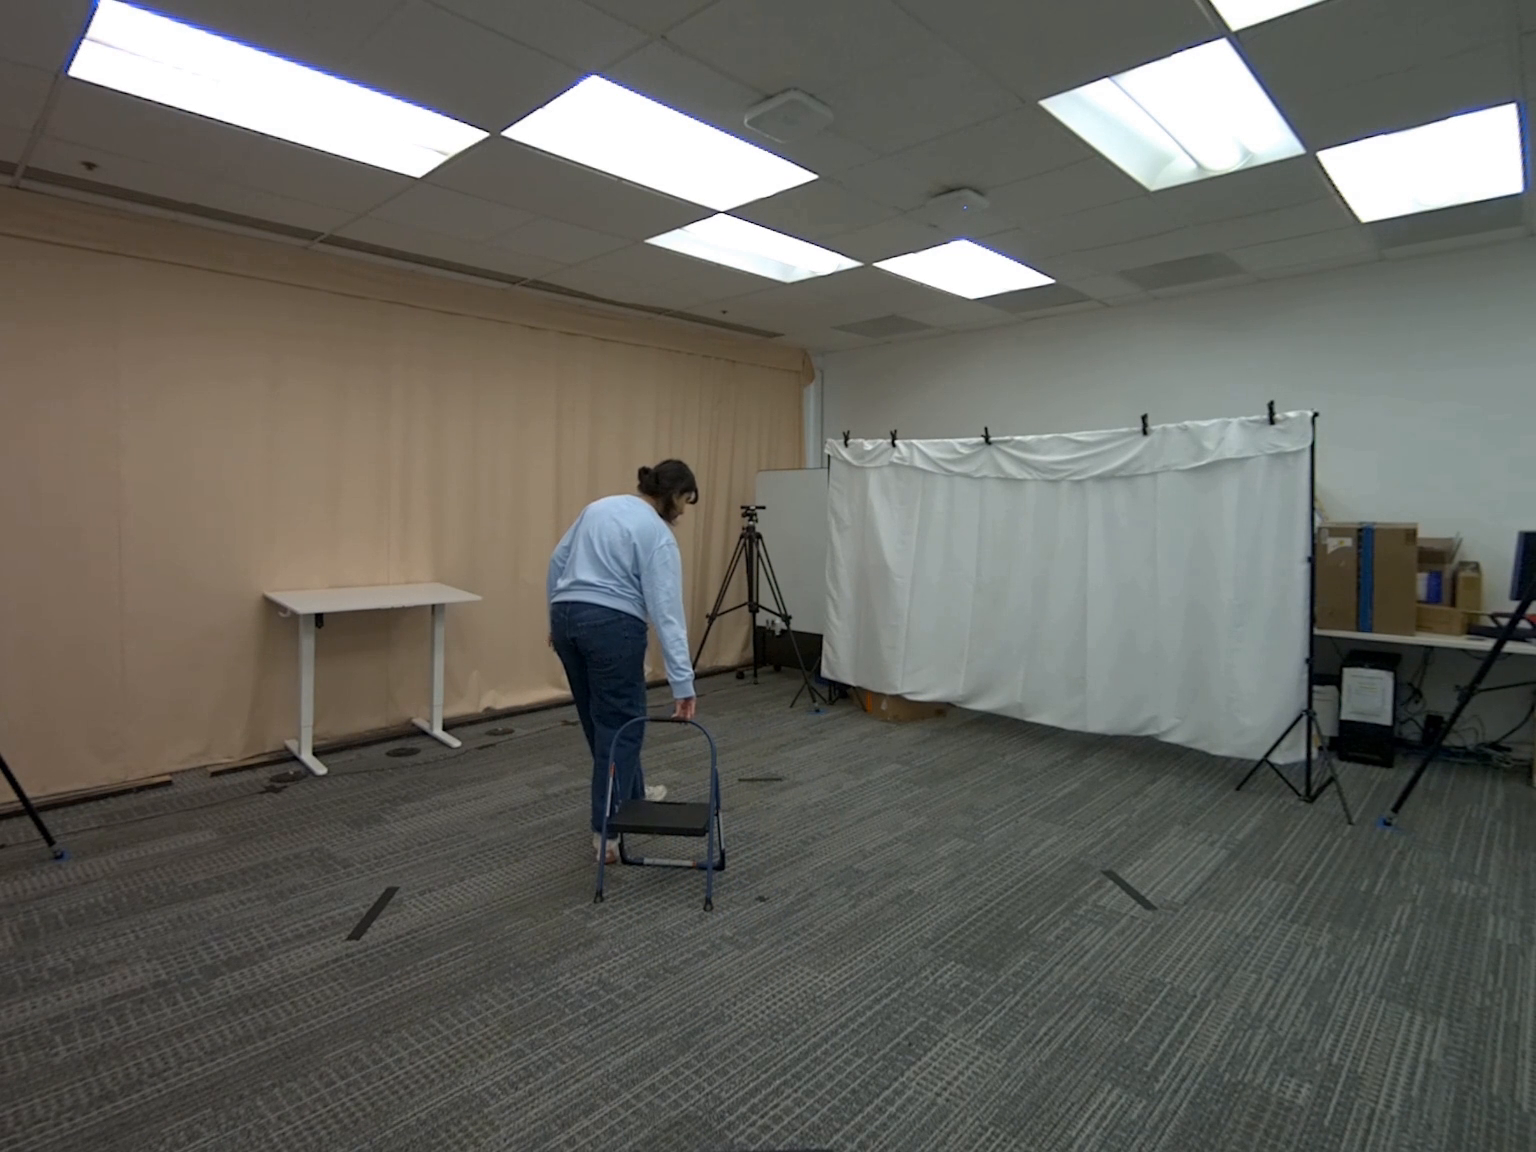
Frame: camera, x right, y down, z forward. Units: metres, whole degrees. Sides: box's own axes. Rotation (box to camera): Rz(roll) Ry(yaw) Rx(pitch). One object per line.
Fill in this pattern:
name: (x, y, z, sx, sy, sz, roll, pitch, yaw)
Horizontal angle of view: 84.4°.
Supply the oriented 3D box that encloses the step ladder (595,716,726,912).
step ladder: (-0.386, 0.836, 3.088, 0.435, 0.605, 0.346, 0, 3, 8)
